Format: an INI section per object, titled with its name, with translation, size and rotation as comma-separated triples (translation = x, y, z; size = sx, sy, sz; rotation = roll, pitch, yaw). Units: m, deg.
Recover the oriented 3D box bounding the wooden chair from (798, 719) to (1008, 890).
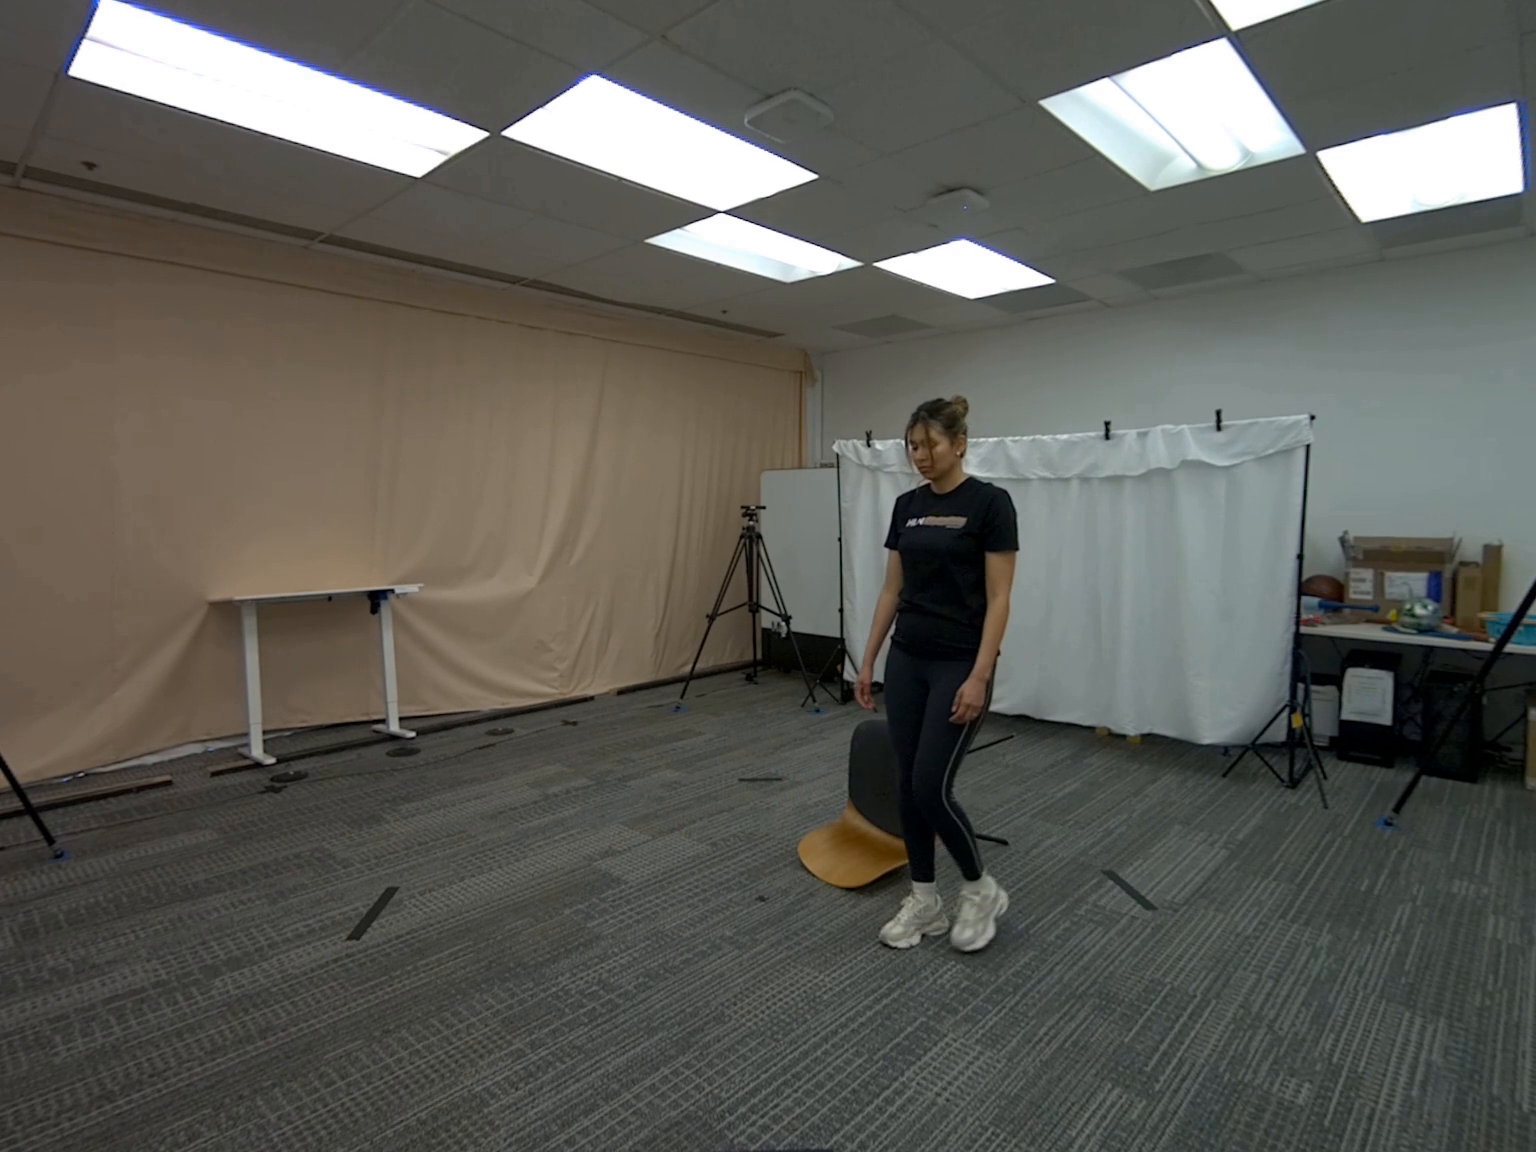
[wooden chair]
translation = 0.525, 0.849, 3.368
size = 0.851, 0.522, 0.494
rotation = -5, 6, -40
